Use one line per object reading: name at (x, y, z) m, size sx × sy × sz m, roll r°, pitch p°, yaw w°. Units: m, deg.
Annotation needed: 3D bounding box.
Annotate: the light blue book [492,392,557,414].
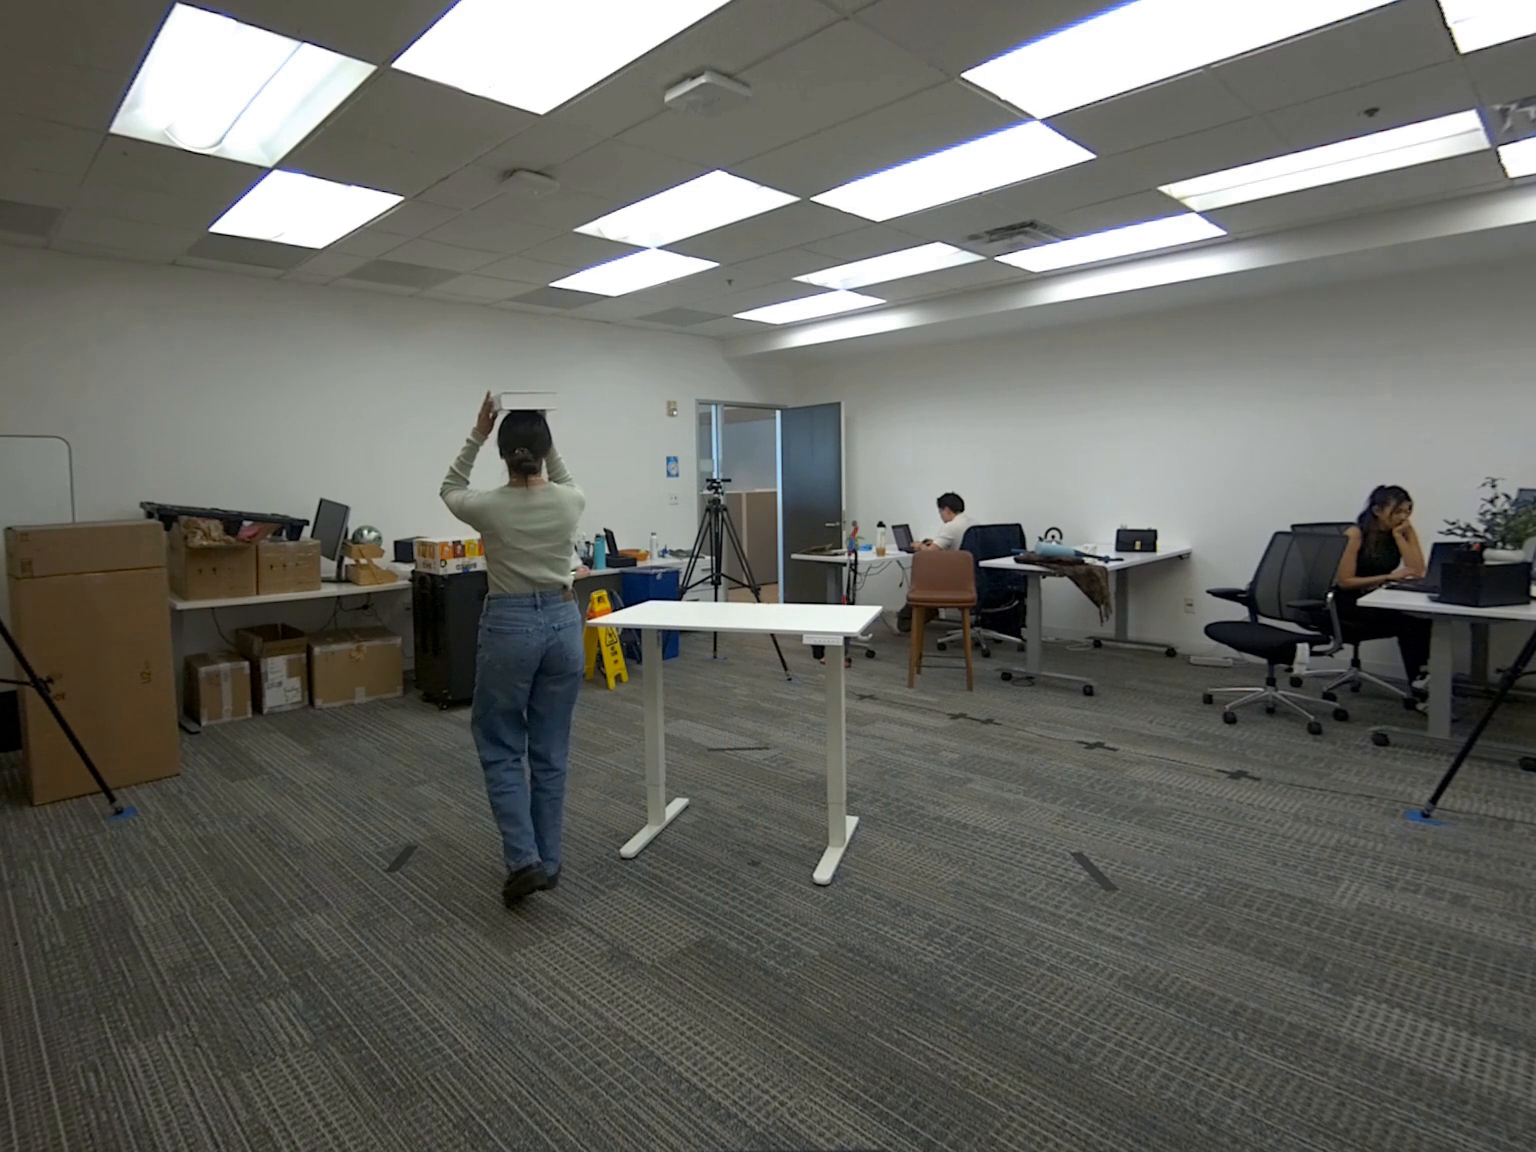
light blue book at (-0.833, -0.586, 2.881) m, size 0.188 × 0.058 × 0.267 m, roll -6°, pitch 9°, yaw -23°
